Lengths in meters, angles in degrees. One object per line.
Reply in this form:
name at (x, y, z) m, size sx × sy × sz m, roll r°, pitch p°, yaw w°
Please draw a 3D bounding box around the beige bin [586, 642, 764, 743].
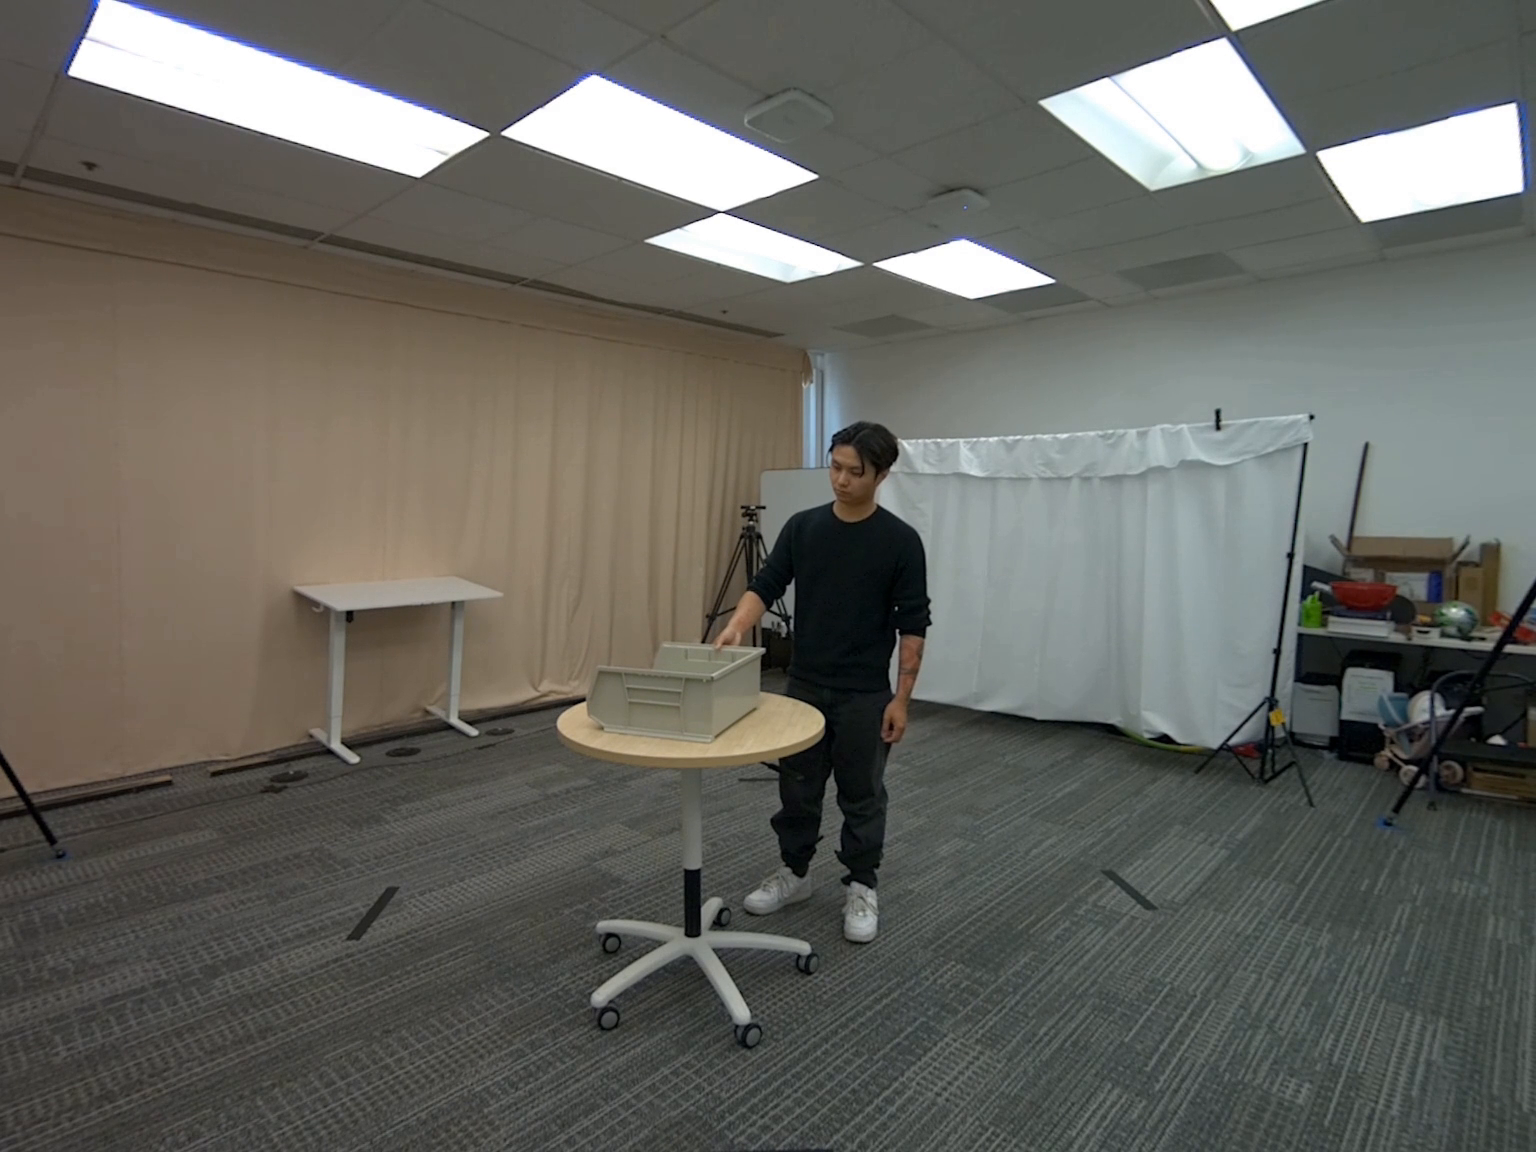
beige bin at (-0.247, 0.326, 2.408) m, size 0.385 × 0.188 × 0.414 m, roll 2°, pitch 5°, yaw 19°
